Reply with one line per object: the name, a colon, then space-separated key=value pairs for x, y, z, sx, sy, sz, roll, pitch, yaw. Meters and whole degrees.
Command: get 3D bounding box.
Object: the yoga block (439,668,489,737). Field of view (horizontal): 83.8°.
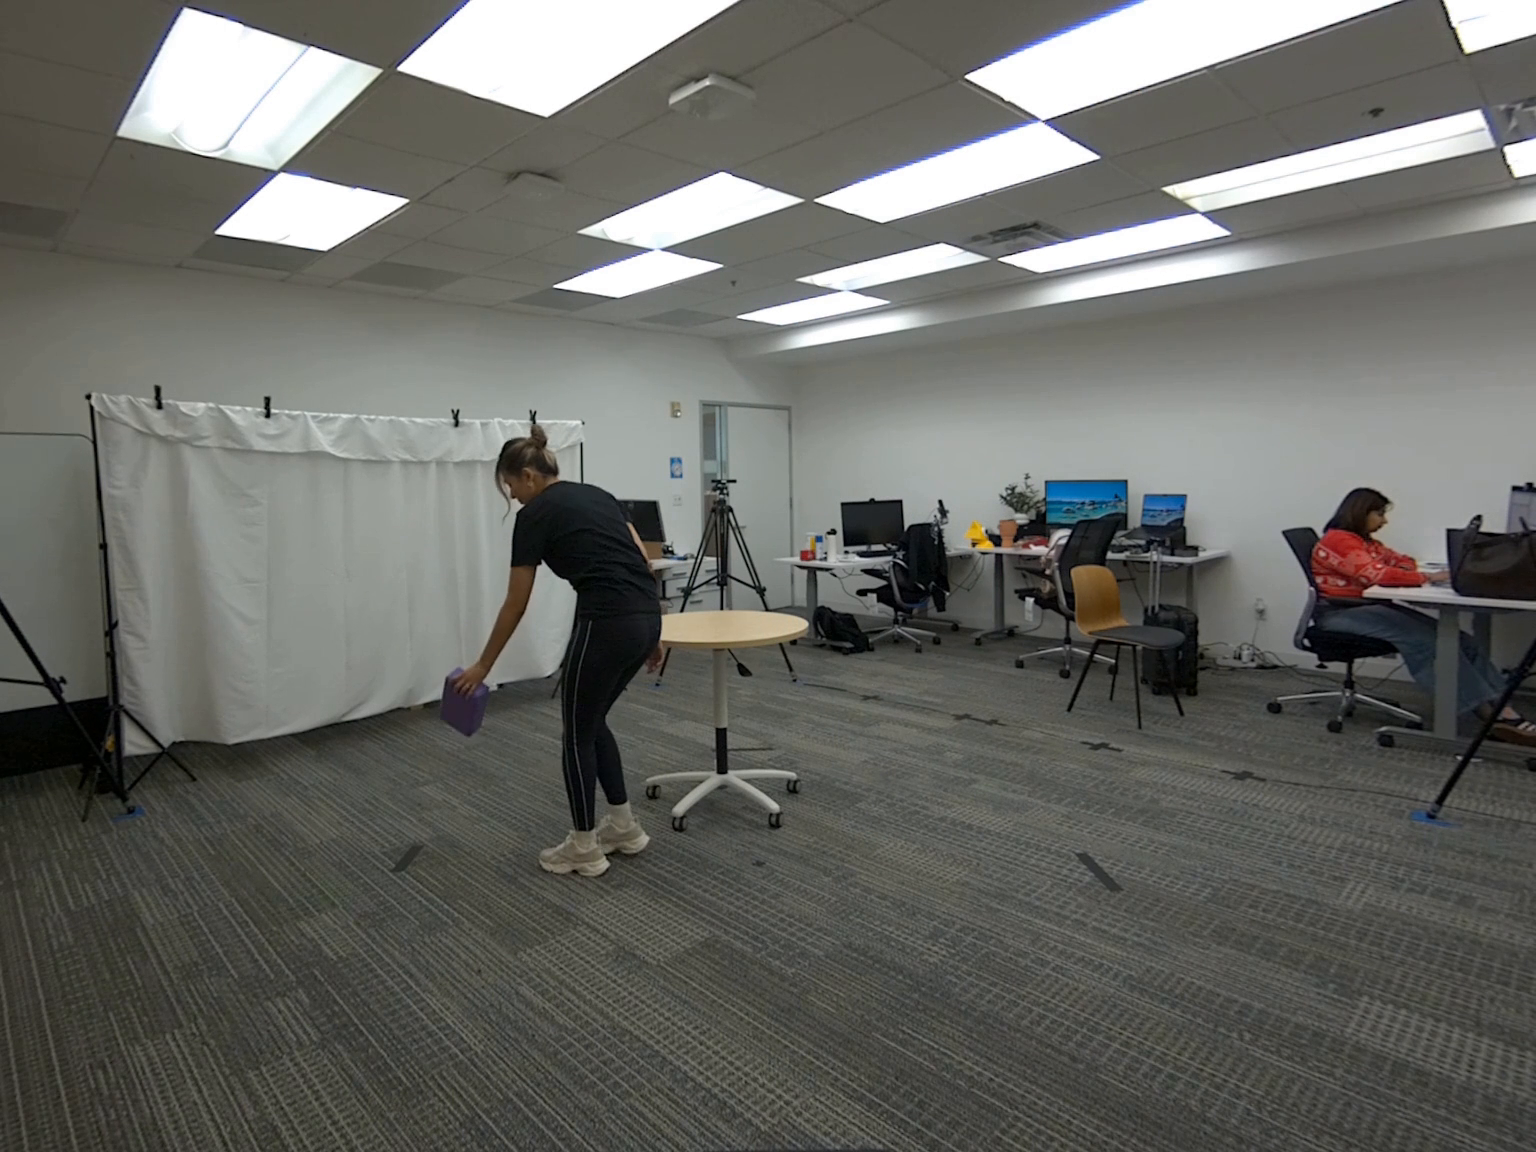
yoga block: x=-1.099 y=0.457 z=3.092 sx=0.151 sy=0.226 sz=0.077 roll=27 pitch=35 yaw=8
